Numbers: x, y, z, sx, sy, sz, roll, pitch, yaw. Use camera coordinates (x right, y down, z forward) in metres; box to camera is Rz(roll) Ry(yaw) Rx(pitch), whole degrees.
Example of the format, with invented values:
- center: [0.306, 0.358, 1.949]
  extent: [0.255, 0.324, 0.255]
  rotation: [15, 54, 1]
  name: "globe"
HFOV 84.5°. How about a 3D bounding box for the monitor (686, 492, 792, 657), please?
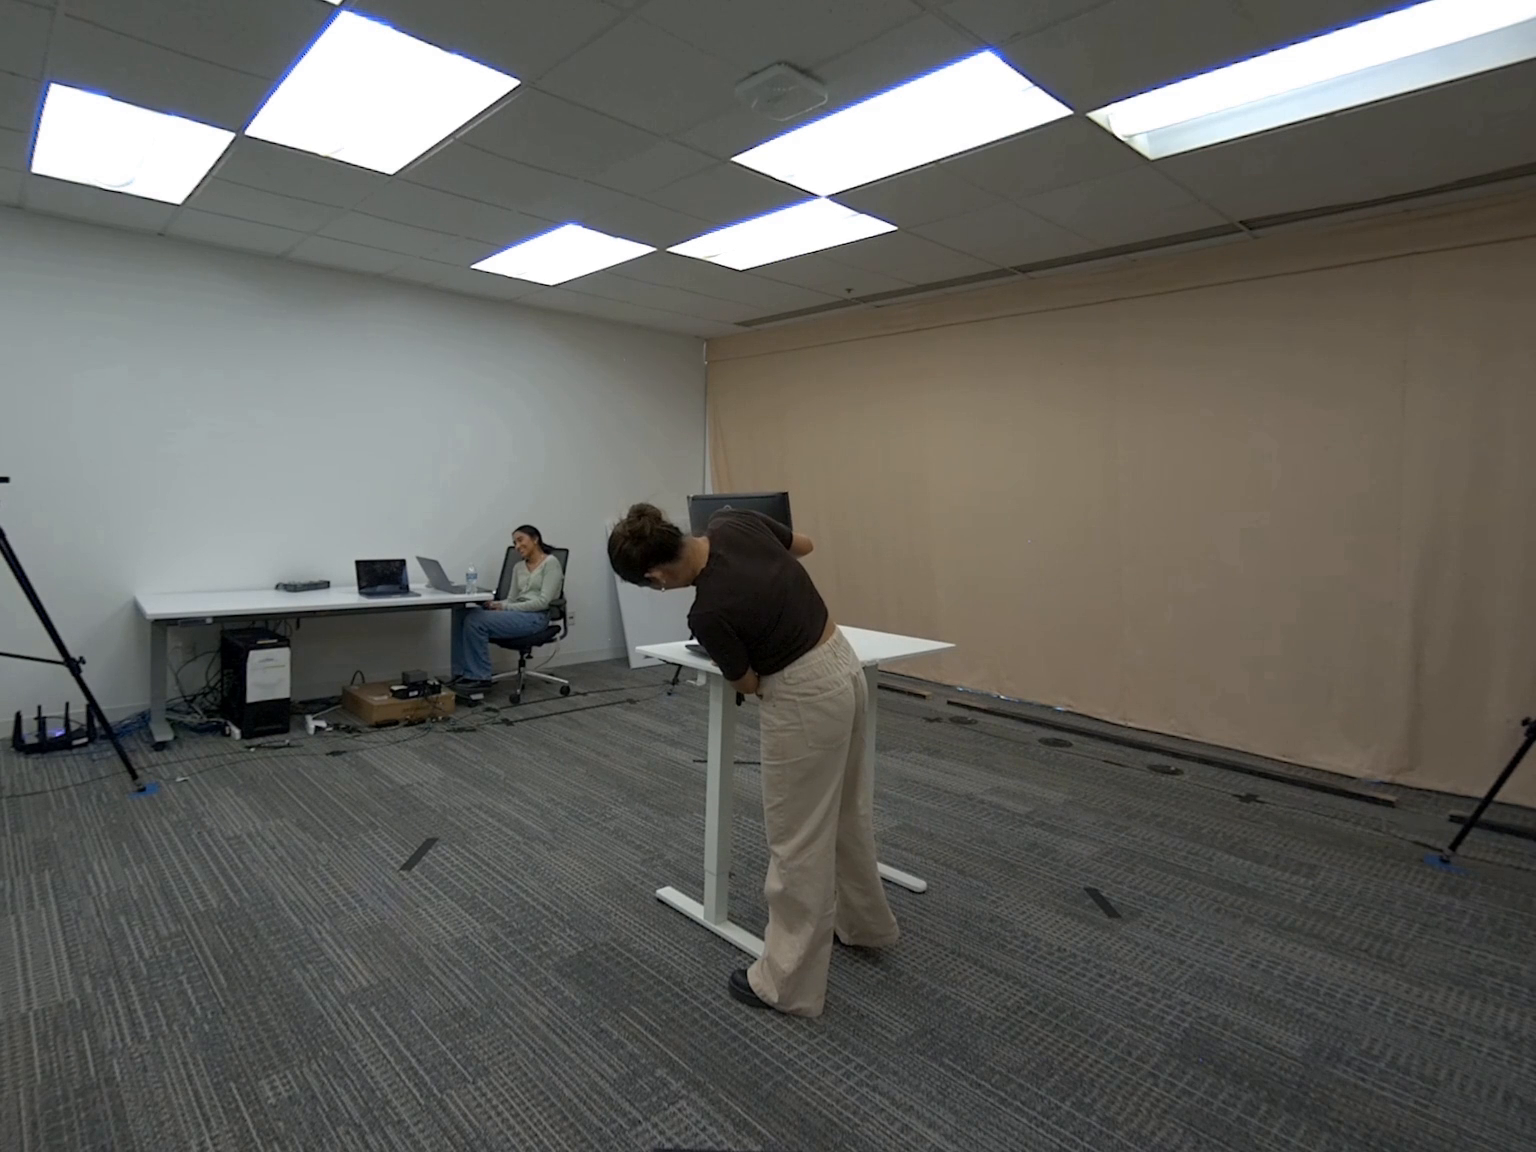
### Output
- center: [-0.119, 0.003, 2.653]
  extent: [0.182, 0.522, 0.552]
  rotation: [4, 0, -38]
  name: "monitor"
